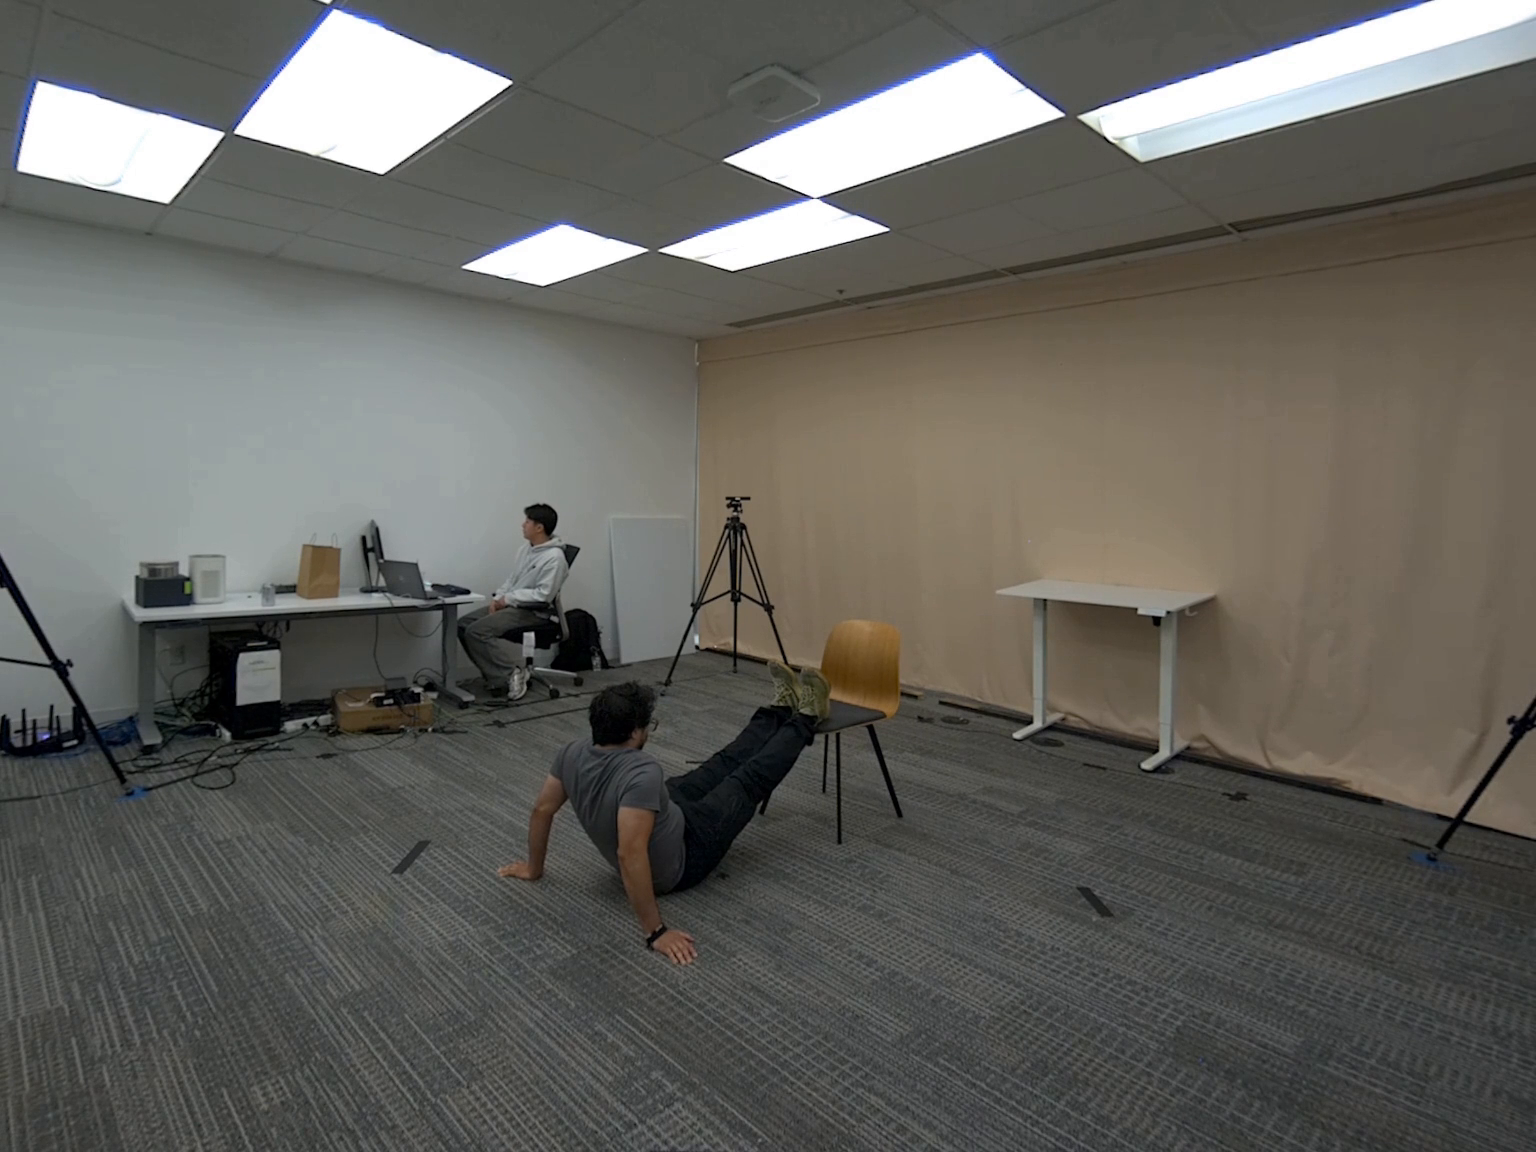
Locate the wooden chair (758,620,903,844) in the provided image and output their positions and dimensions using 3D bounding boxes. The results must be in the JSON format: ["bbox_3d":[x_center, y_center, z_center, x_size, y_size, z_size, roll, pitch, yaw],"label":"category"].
[{"bbox_3d":[0.275,0.640,3.701,0.490,0.877,0.510,4,0,44],"label":"wooden chair"}]
